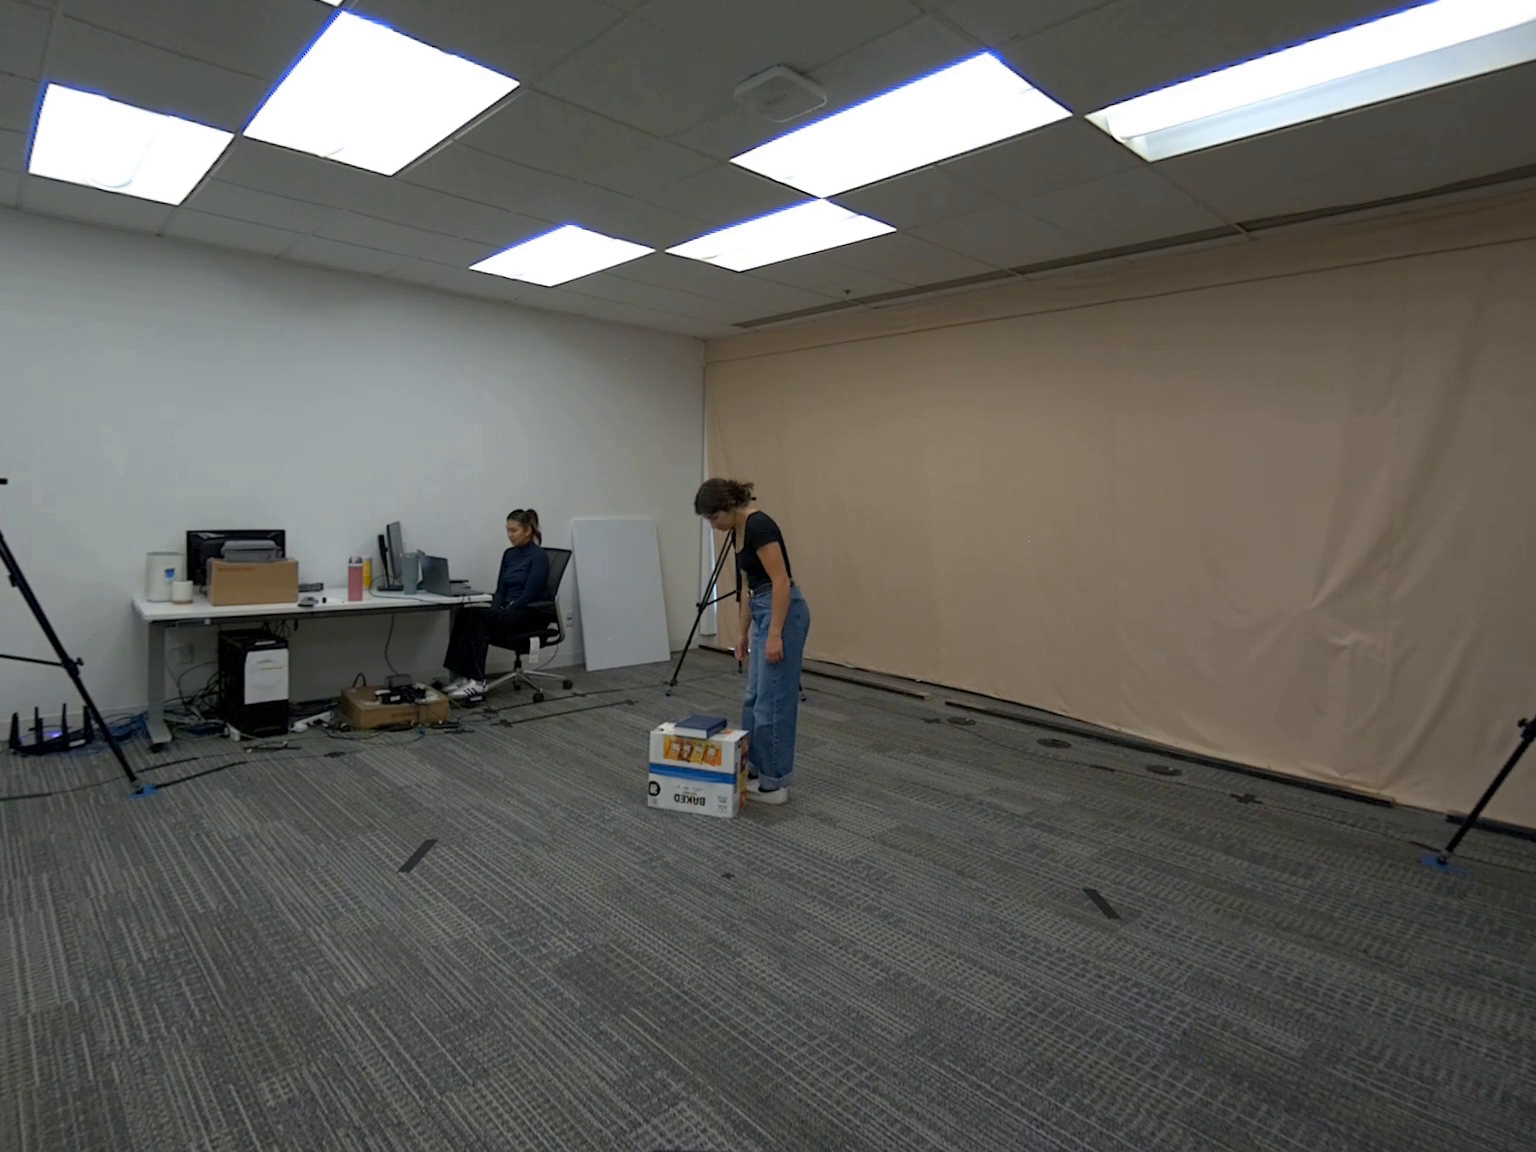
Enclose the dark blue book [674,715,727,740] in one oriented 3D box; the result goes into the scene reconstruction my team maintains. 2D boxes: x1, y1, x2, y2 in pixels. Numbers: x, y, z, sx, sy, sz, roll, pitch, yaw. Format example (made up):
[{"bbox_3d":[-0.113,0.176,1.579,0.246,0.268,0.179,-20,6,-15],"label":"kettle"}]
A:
[{"bbox_3d":[-0.307,0.683,3.811,0.166,0.045,0.242,3,4,19],"label":"dark blue book"}]
